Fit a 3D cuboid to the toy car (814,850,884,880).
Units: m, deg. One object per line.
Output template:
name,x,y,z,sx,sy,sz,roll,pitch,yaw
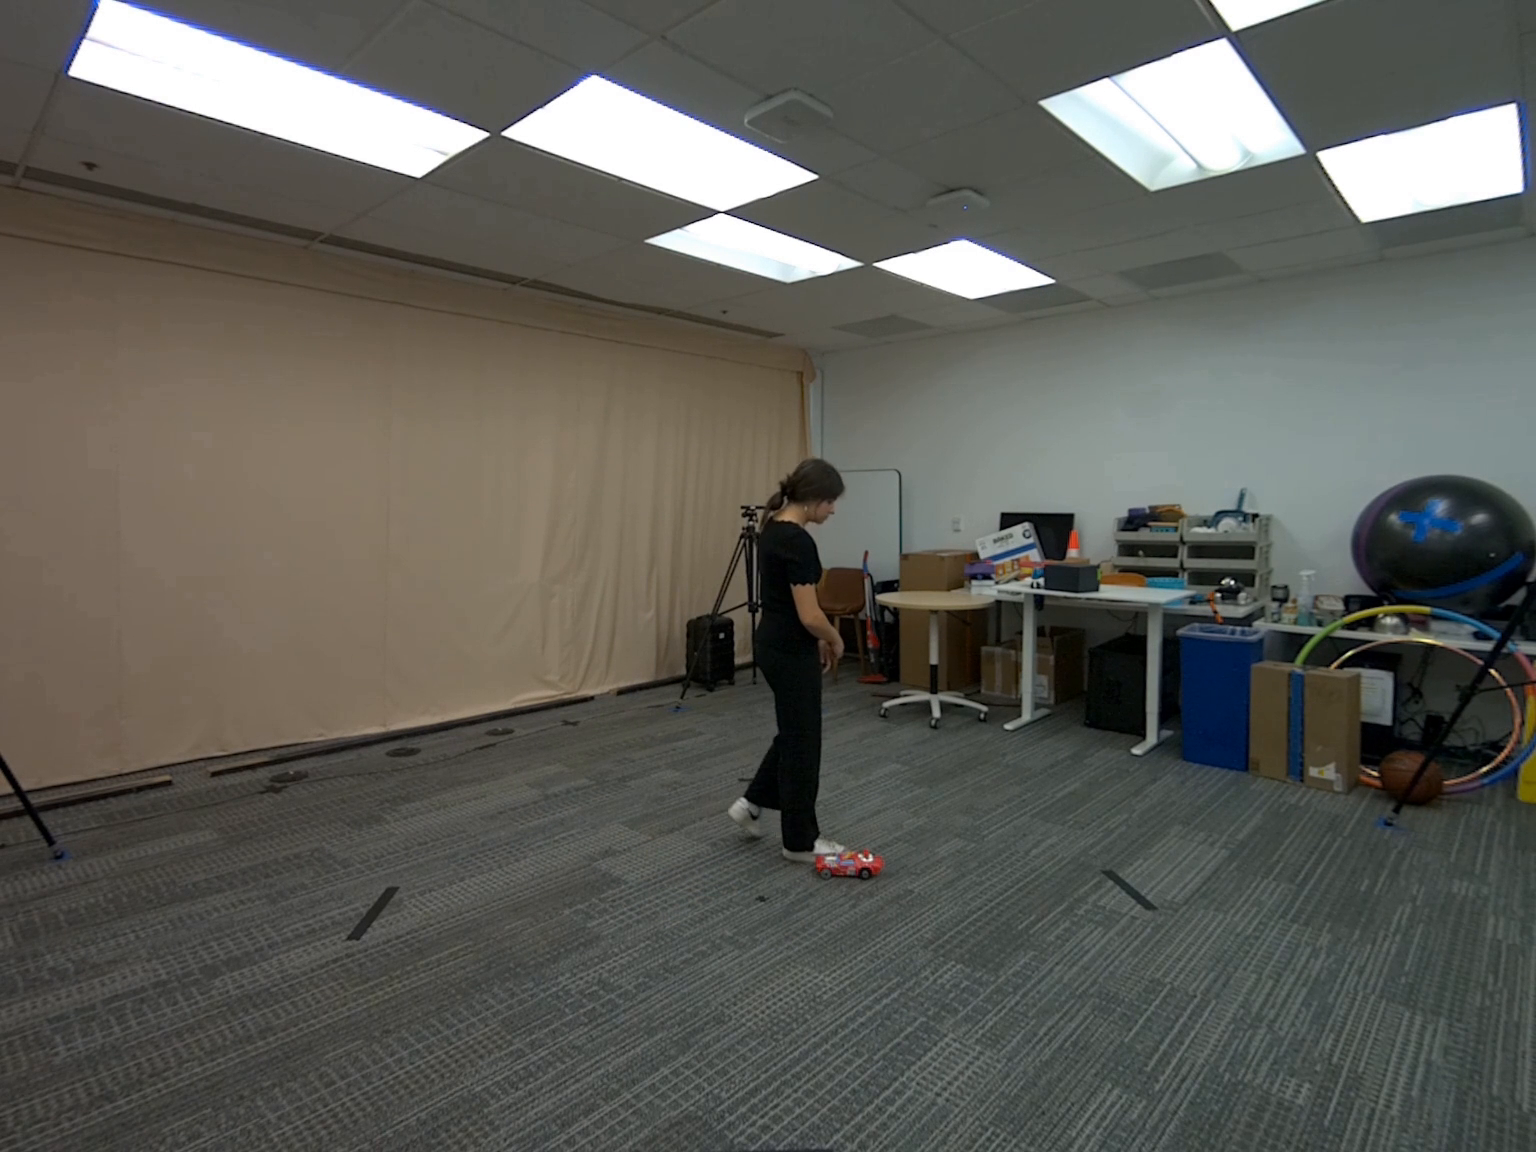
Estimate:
toy car,0.319,1.095,3.178,0.256,0.083,0.130,-11,4,4
